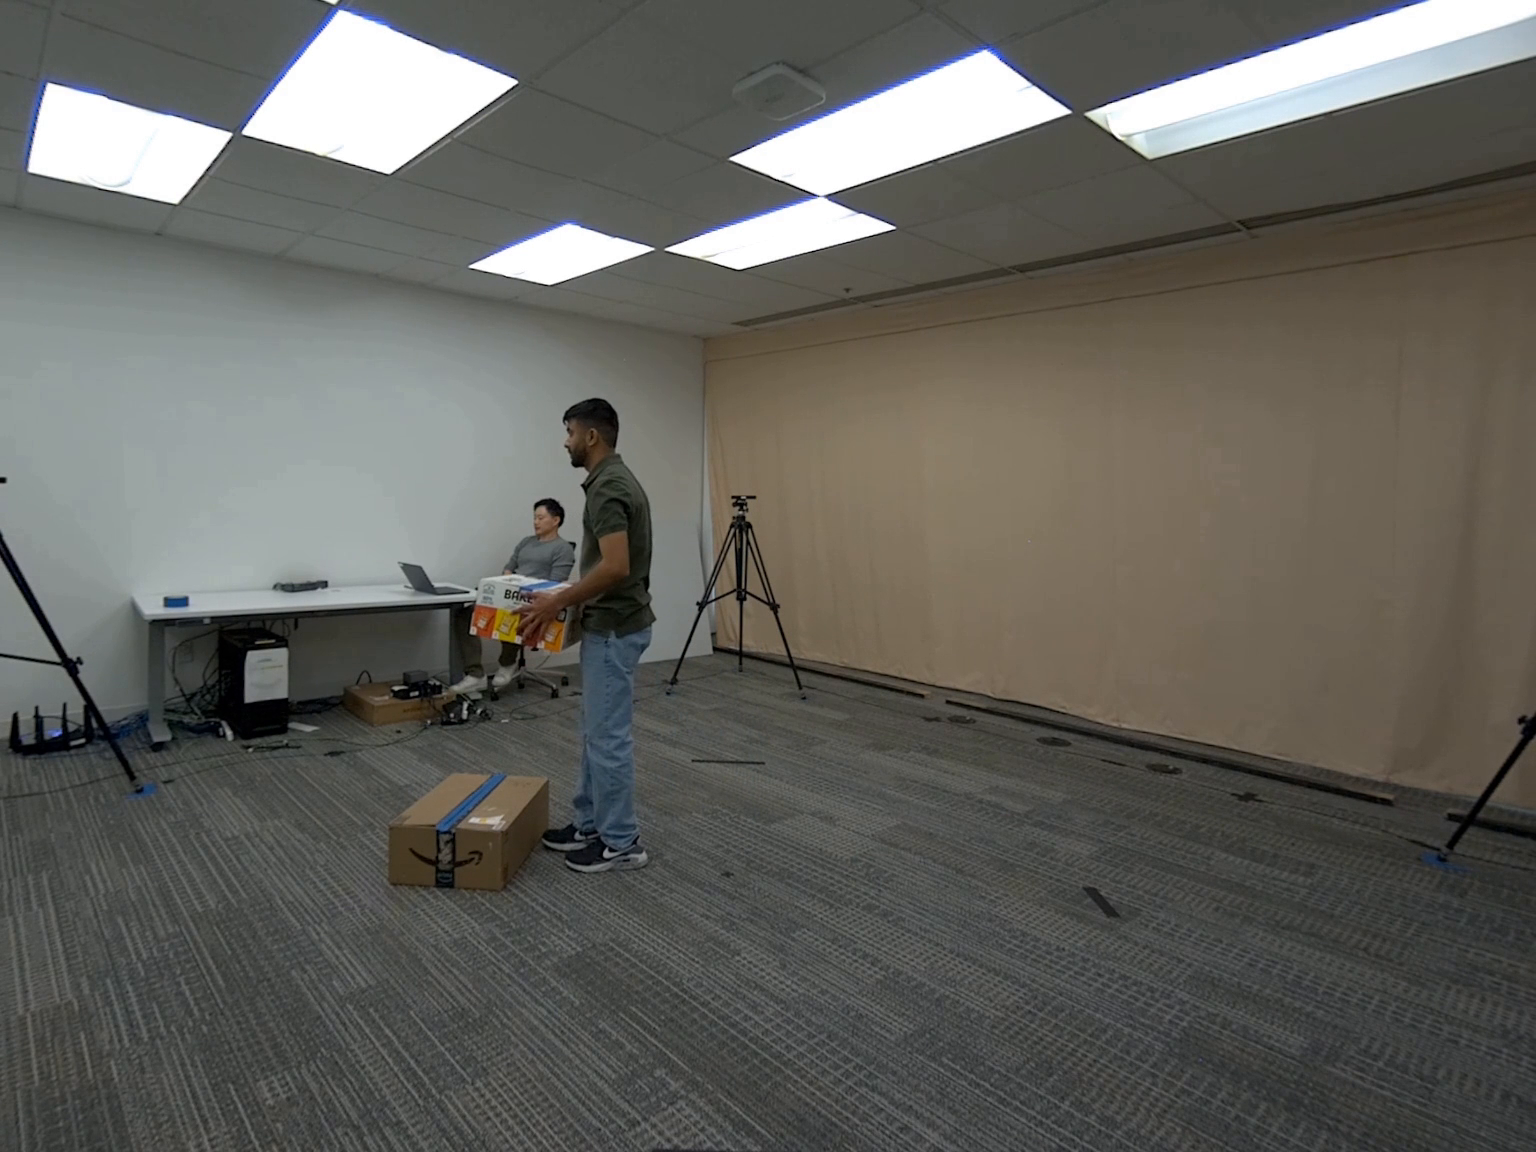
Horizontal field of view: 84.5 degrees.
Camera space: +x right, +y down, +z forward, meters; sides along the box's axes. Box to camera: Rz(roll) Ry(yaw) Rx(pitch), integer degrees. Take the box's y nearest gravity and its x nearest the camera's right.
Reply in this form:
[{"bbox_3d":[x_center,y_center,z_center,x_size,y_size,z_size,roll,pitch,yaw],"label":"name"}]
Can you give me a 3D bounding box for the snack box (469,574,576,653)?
[{"bbox_3d":[-0.881,0.134,3.191,0.341,0.205,0.405,10,2,1],"label":"snack box"}]
